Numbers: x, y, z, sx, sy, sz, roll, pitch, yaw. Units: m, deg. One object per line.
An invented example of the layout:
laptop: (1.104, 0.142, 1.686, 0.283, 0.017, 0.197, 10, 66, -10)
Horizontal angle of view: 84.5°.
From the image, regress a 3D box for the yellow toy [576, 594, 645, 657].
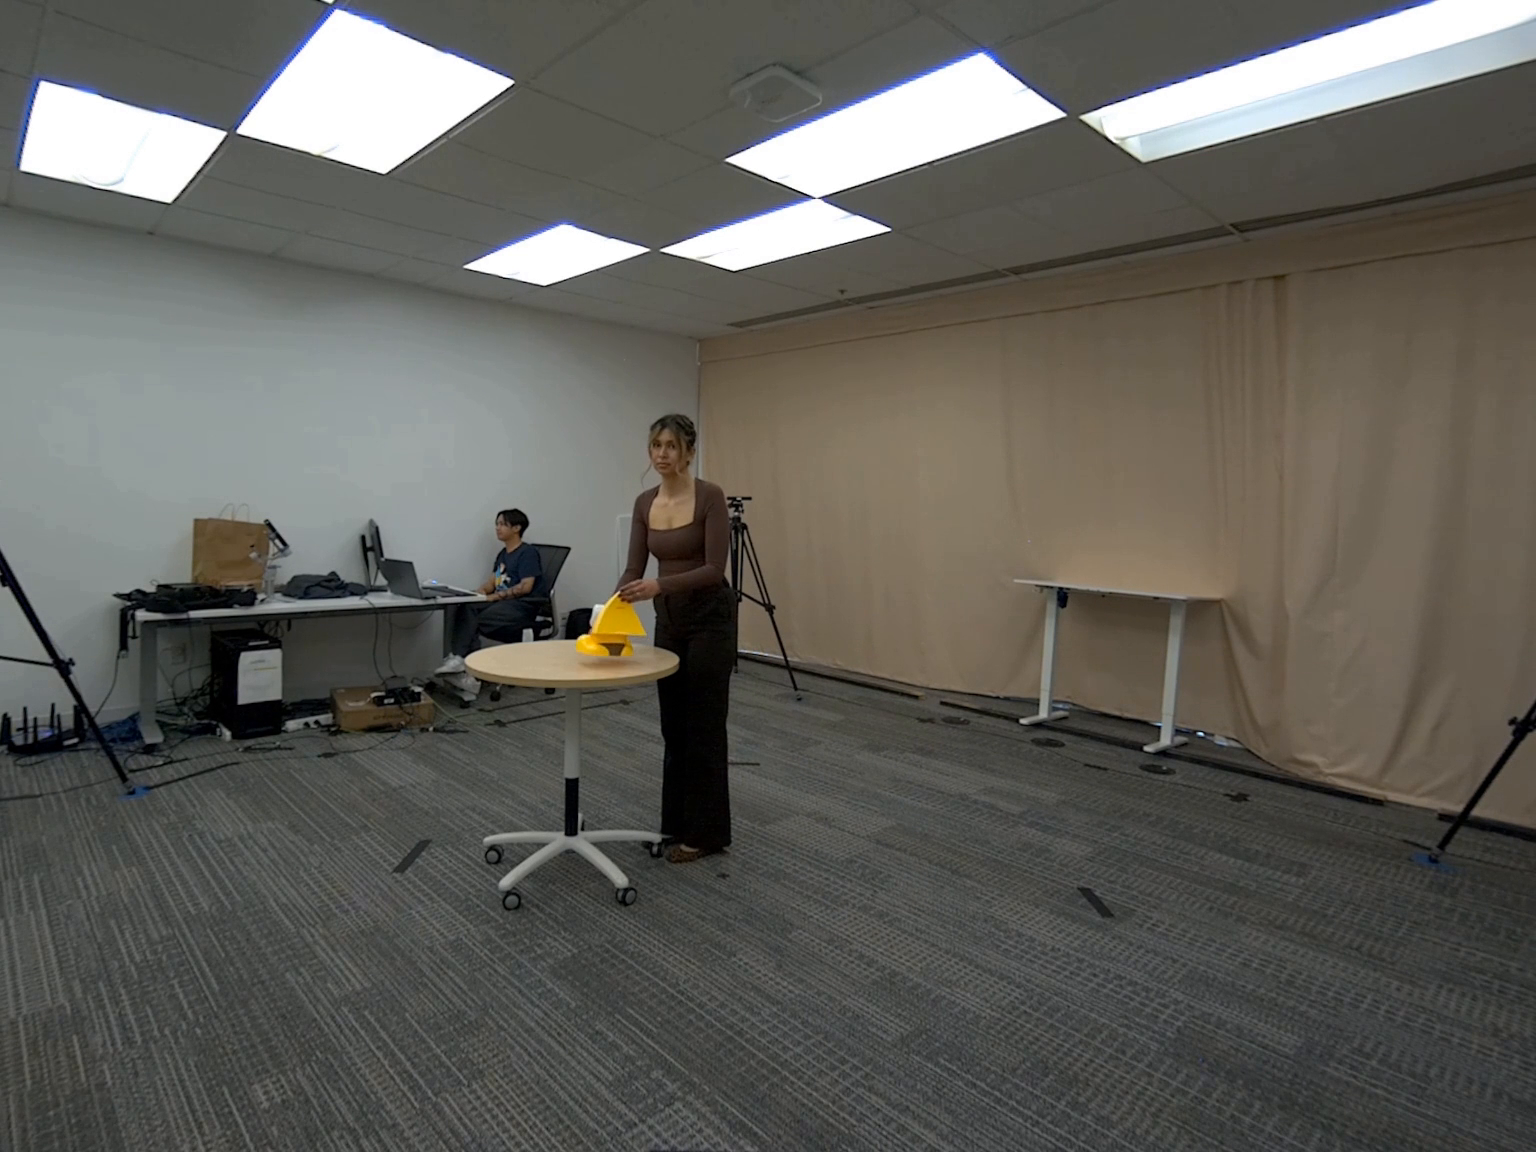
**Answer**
yellow toy: (-0.568, 0.156, 2.949, 0.199, 0.230, 0.198, 6, 2, -39)
